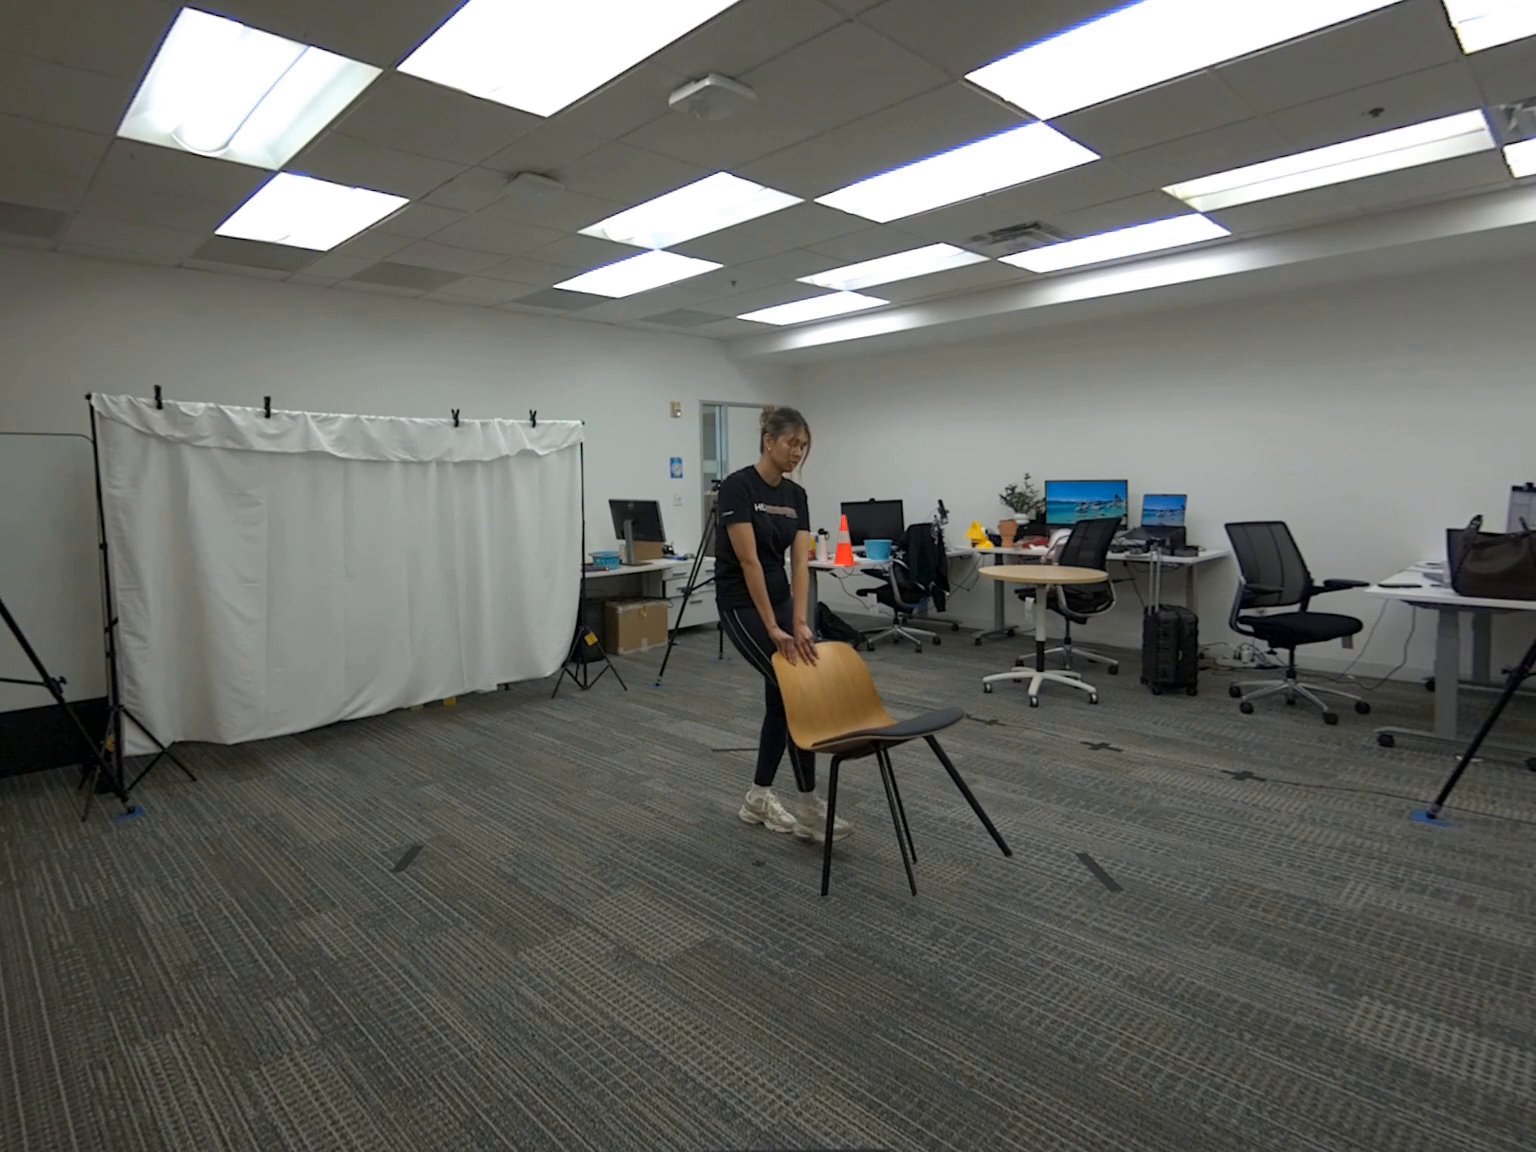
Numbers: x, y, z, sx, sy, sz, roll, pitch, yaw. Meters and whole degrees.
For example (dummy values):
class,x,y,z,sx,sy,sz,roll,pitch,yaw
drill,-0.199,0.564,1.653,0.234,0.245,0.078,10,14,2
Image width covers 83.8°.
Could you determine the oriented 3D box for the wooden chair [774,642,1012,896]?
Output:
class,x,y,z,sx,sy,sz,roll,pitch,yaw
wooden chair,0.388,0.581,2.895,0.466,0.895,0.526,-4,-21,-36
